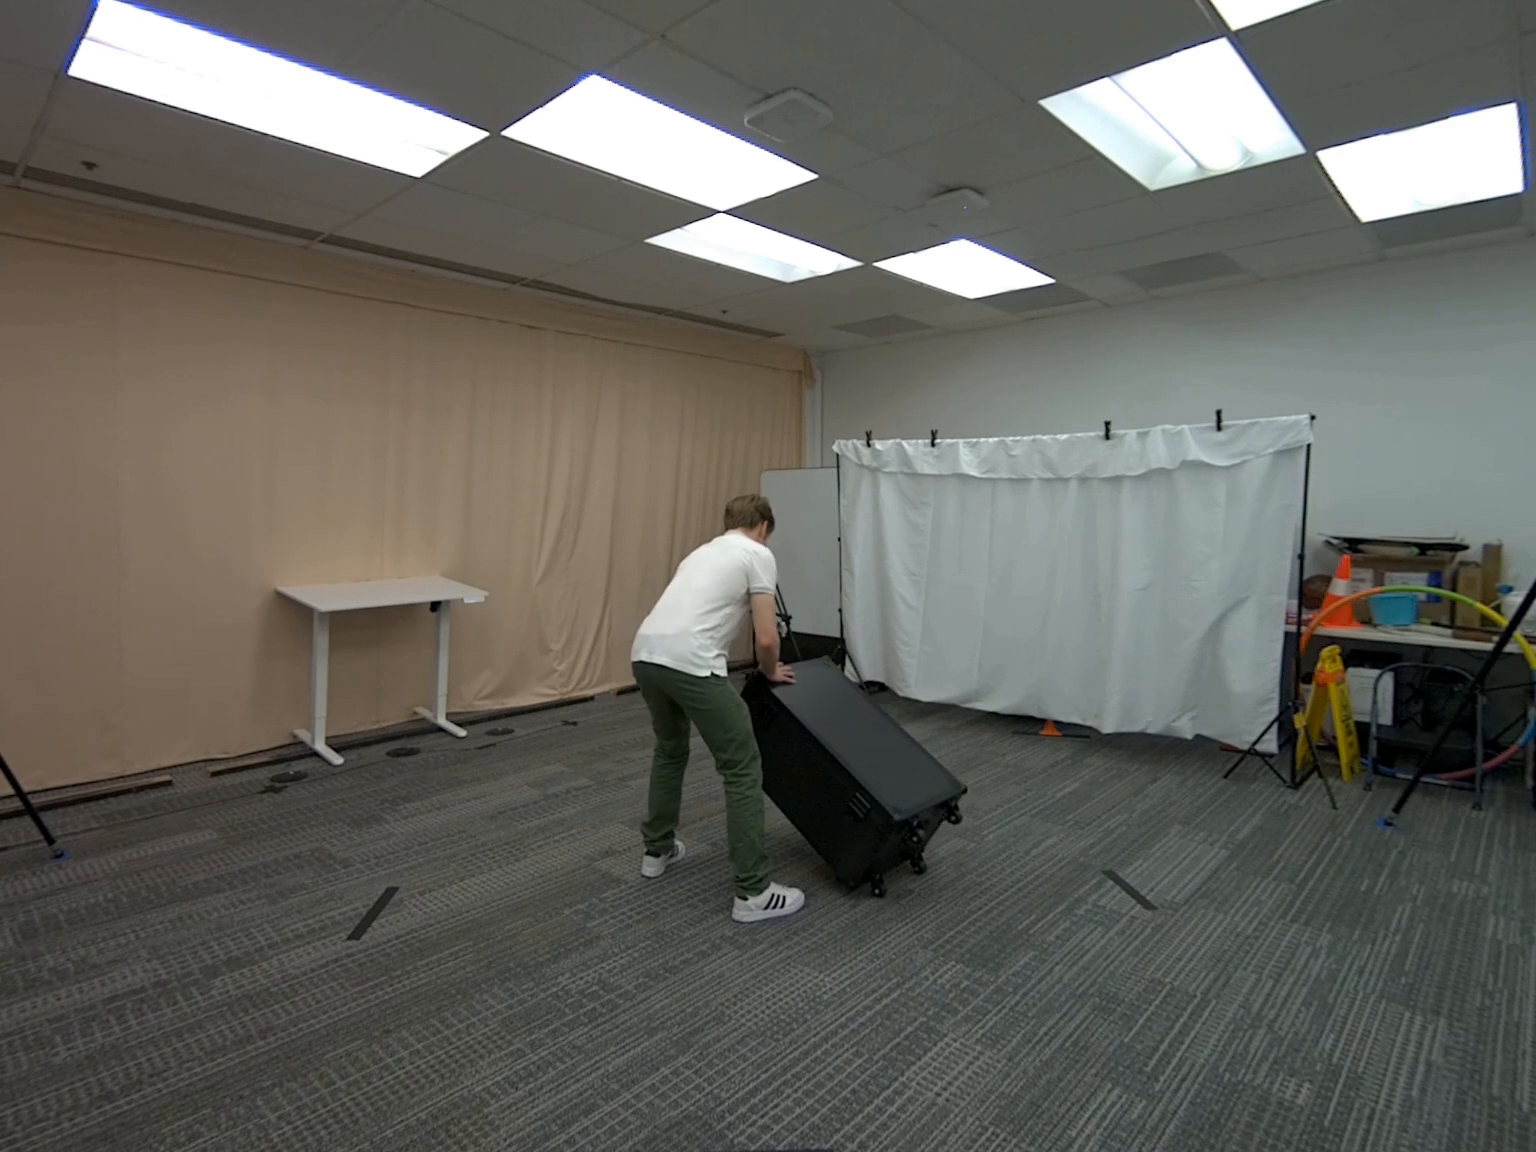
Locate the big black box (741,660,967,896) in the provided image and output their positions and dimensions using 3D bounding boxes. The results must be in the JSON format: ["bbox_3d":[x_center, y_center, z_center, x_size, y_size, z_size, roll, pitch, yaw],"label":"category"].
[{"bbox_3d":[0.298,0.753,3.250,0.507,0.384,0.898,-3,37,-47],"label":"big black box"}]
